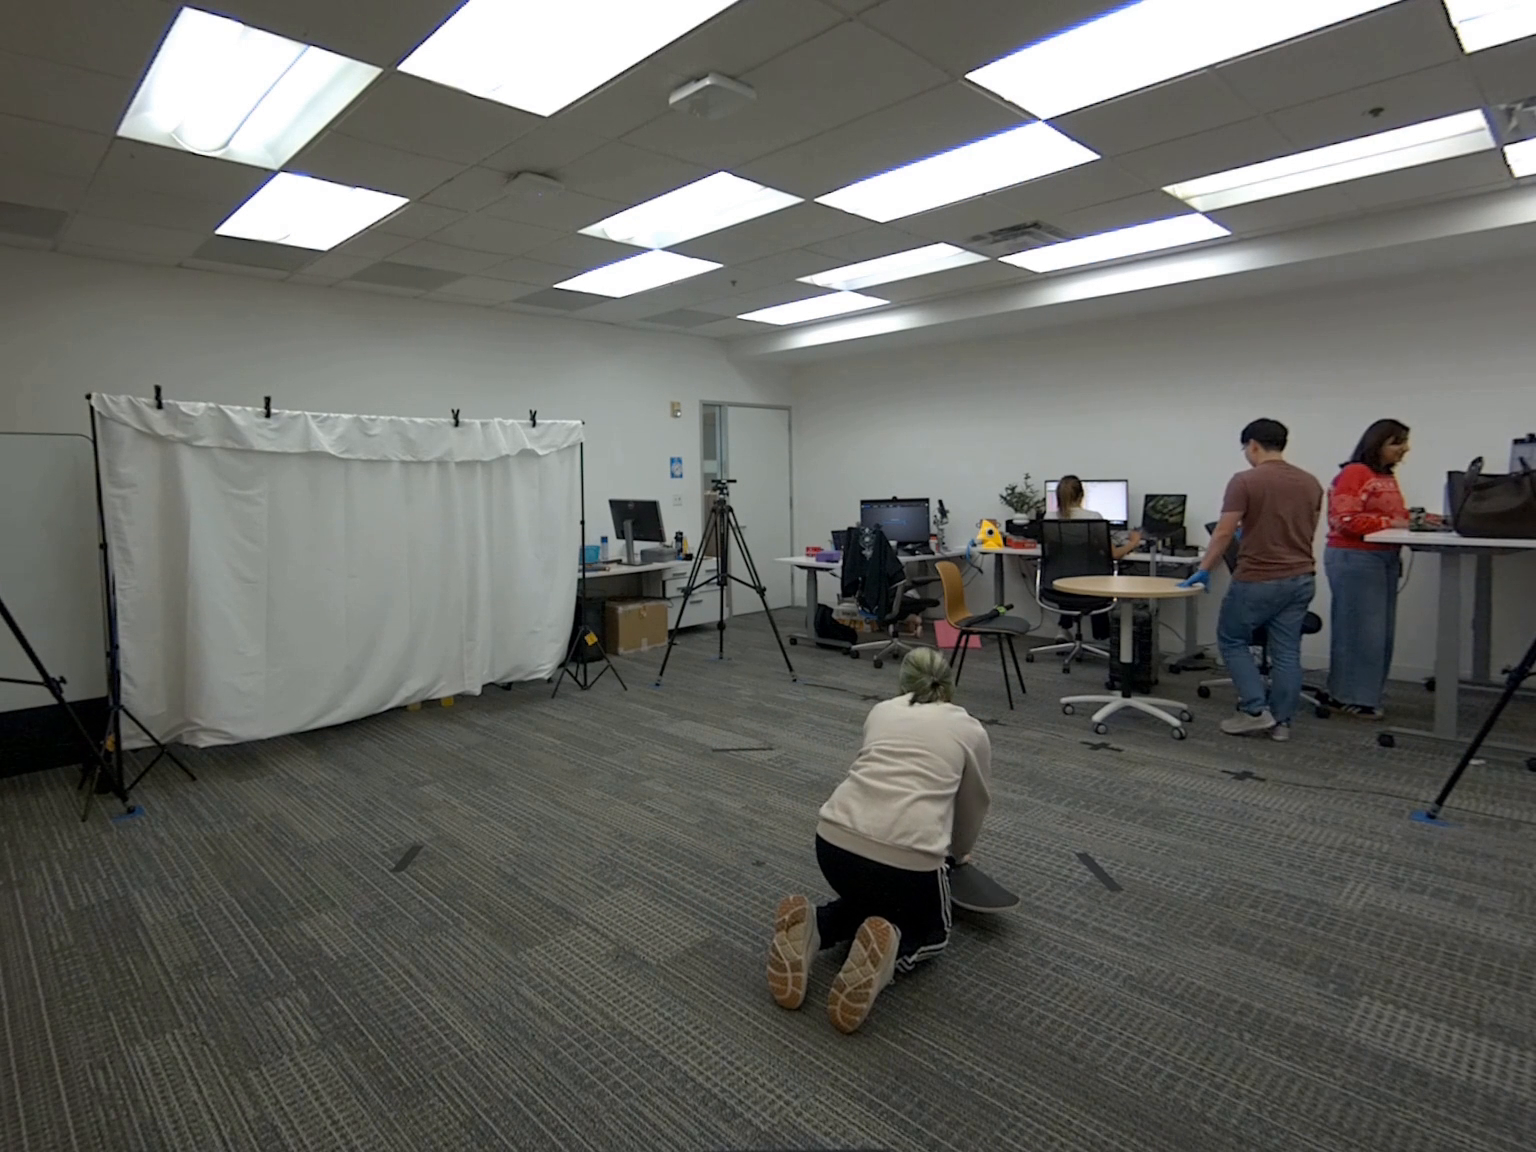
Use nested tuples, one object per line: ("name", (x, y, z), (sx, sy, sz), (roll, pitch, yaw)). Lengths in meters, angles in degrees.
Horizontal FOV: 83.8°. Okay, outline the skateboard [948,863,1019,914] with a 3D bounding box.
("skateboard", (0.567, 0.997, 2.921), (0.190, 0.110, 0.803), (-3, 7, -21))
